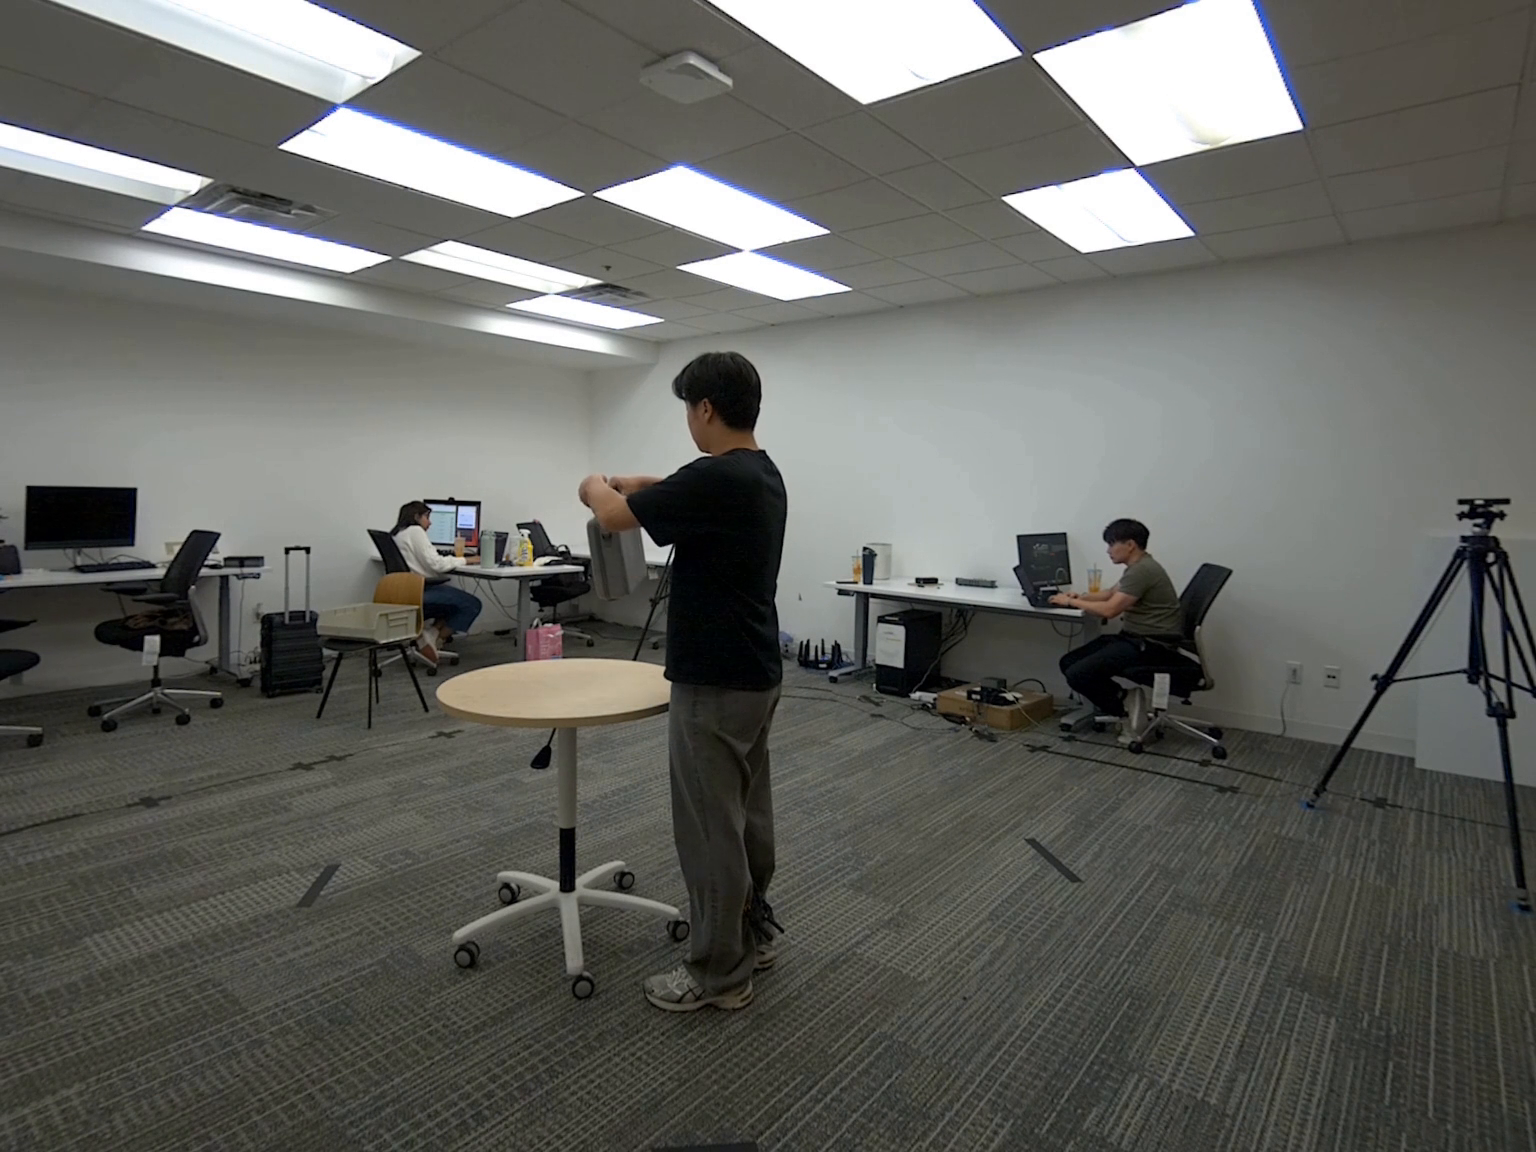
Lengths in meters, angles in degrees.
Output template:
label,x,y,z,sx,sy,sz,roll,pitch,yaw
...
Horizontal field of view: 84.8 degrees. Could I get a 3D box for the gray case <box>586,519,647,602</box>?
label,x,y,z,sx,sy,sz,roll,pitch,yaw
gray case,-0.464,-0.095,2.601,0.104,0.284,0.264,-3,12,8
